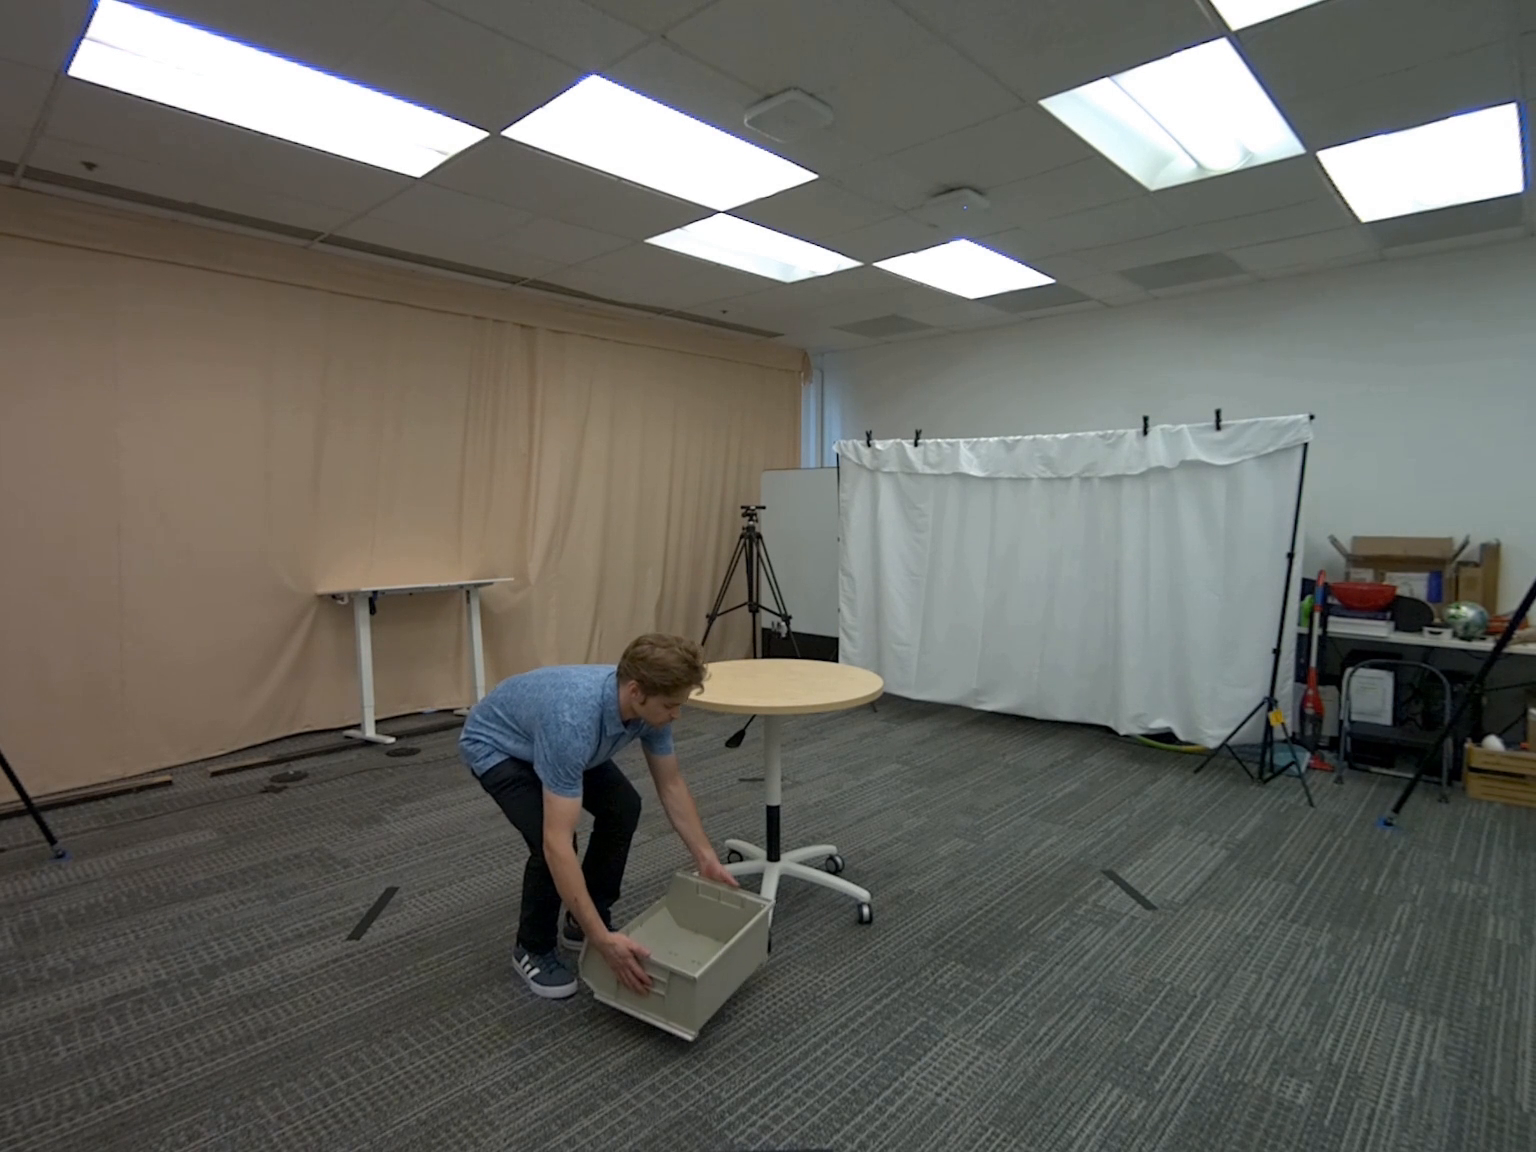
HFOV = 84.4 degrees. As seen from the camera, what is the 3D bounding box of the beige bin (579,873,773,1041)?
[{"bbox_3d":[-0.241,1.026,2.326,0.389,0.188,0.411,8,9,29],"label":"beige bin"}]
